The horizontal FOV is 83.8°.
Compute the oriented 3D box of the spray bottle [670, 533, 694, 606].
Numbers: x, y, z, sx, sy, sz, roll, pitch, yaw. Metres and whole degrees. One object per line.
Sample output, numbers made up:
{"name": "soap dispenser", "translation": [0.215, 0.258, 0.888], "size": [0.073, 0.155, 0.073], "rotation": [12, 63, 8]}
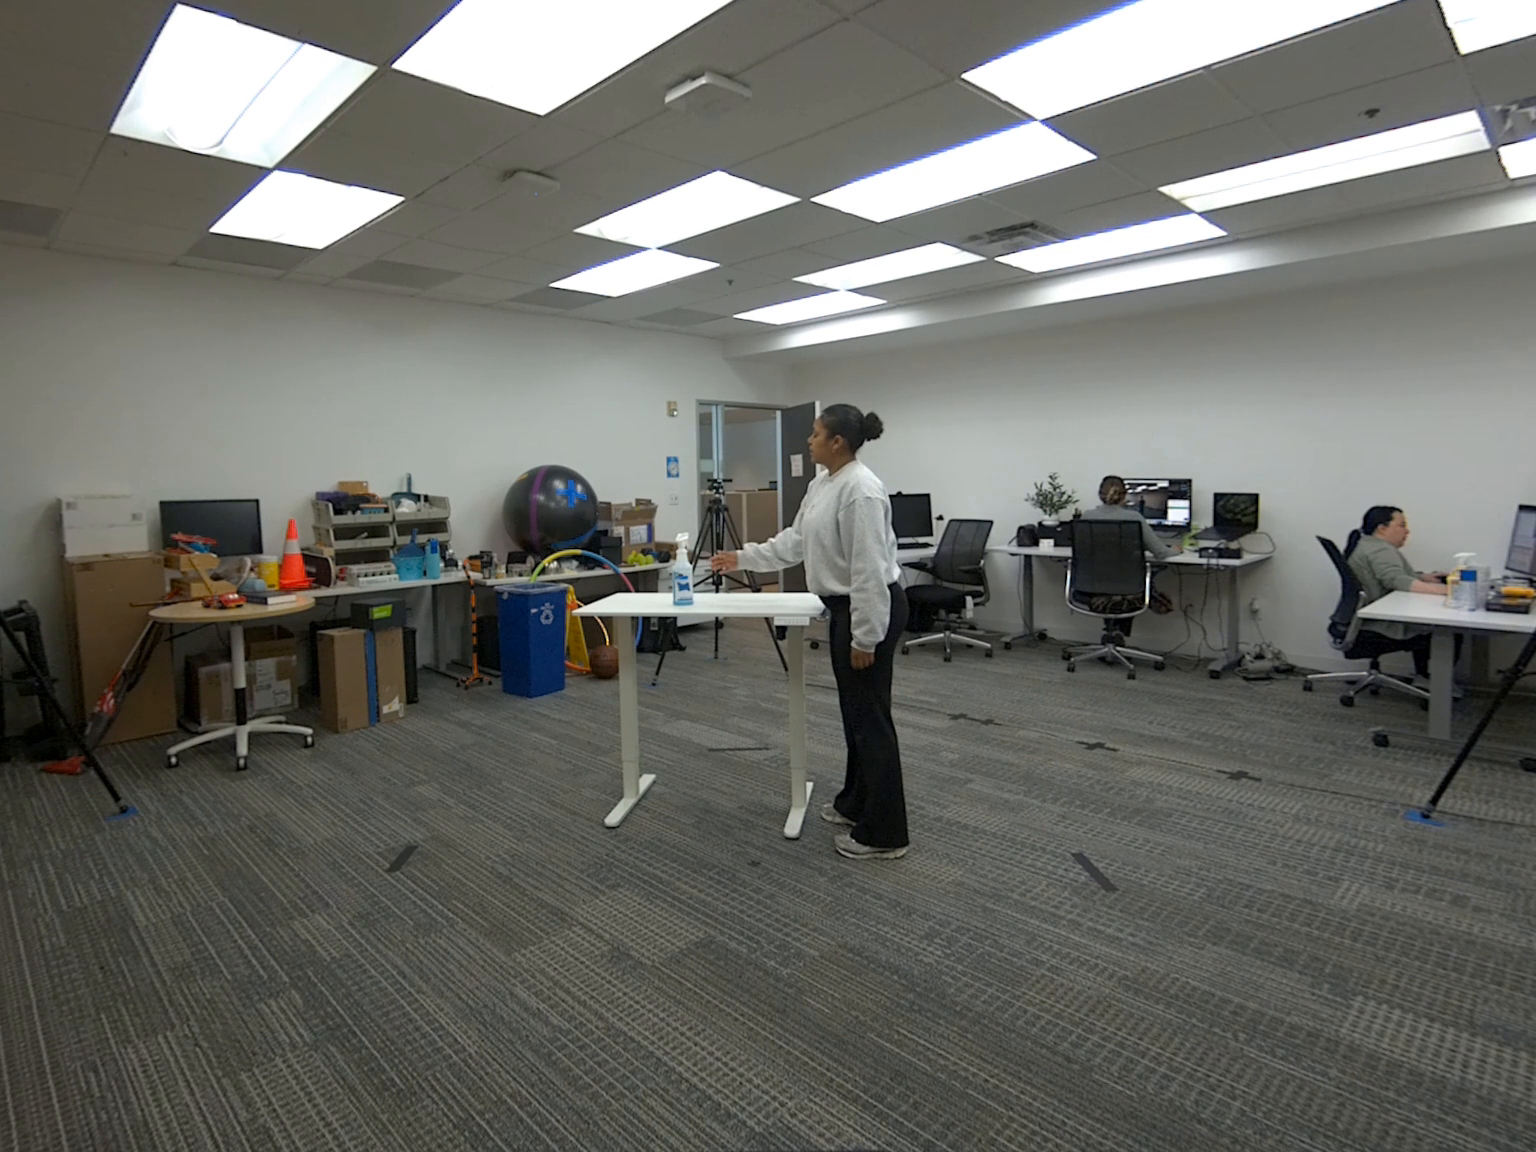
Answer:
{"name": "spray bottle", "translation": [-0.353, -0.030, 3.568], "size": [0.087, 0.296, 0.089], "rotation": [-3, 4, -39]}
